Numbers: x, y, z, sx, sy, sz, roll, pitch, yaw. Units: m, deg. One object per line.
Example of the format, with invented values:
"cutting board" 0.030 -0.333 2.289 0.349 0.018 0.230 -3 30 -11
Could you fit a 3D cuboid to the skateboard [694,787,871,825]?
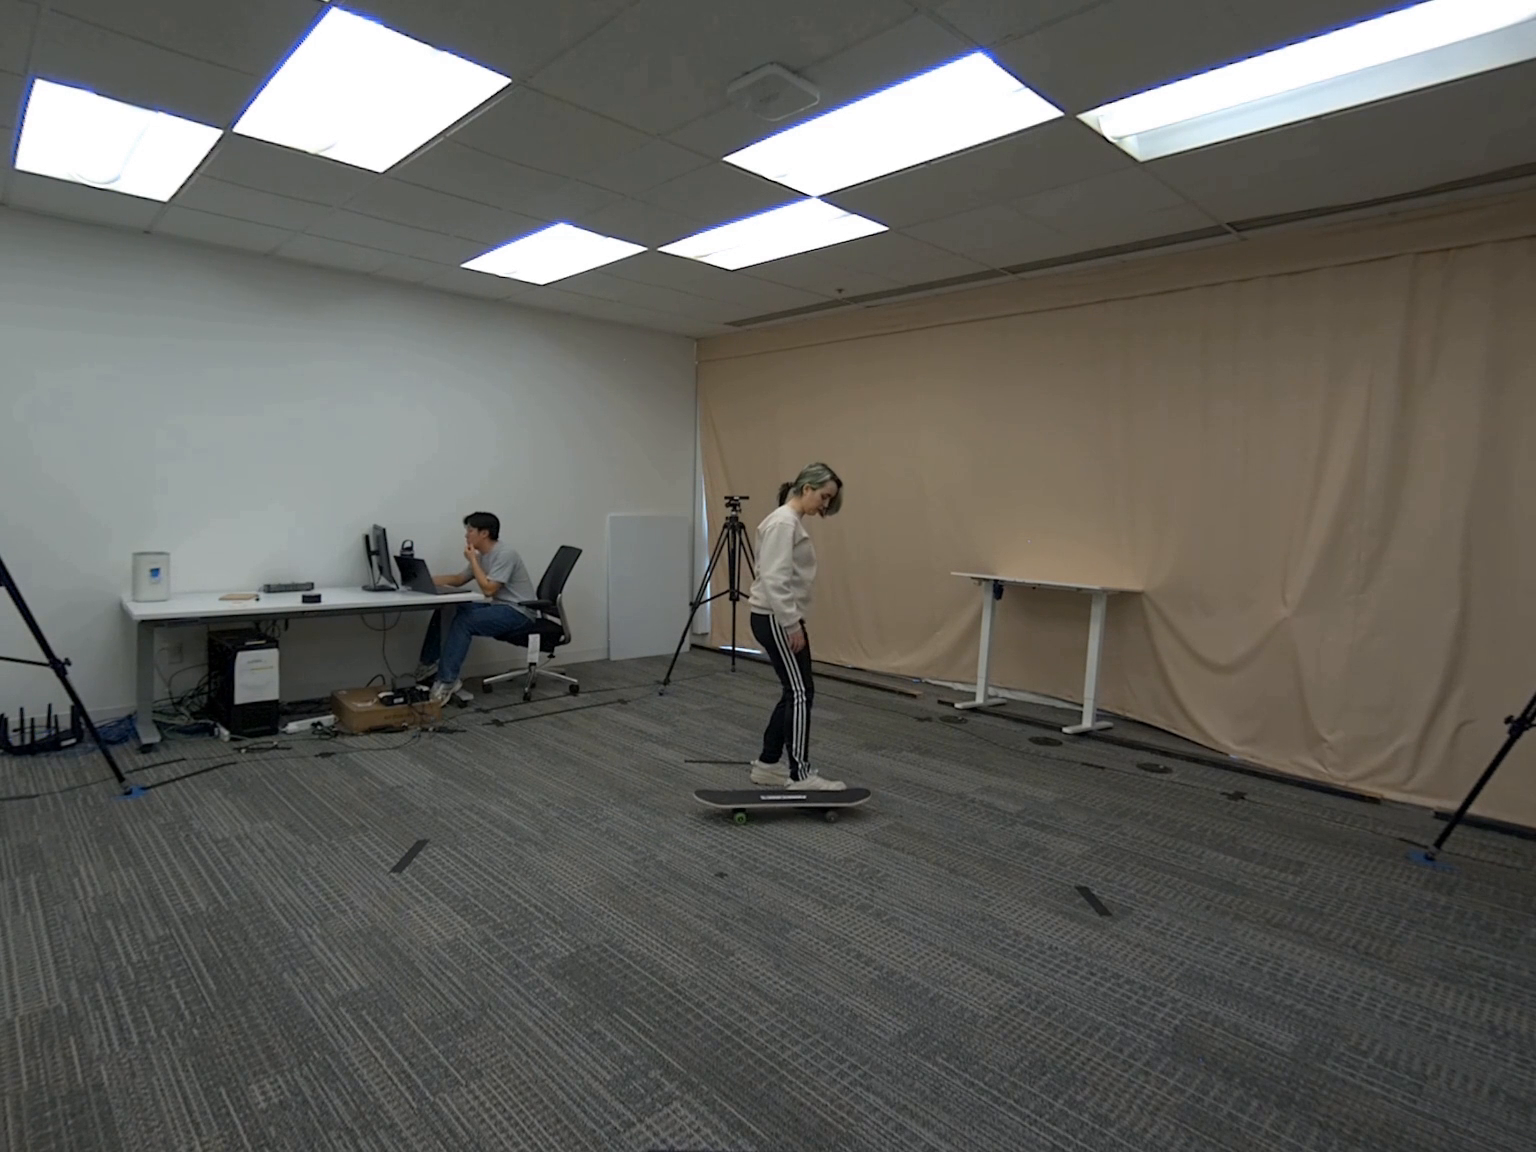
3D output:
"skateboard" 0.055 0.996 3.690 0.781 0.110 0.195 1 4 -6
